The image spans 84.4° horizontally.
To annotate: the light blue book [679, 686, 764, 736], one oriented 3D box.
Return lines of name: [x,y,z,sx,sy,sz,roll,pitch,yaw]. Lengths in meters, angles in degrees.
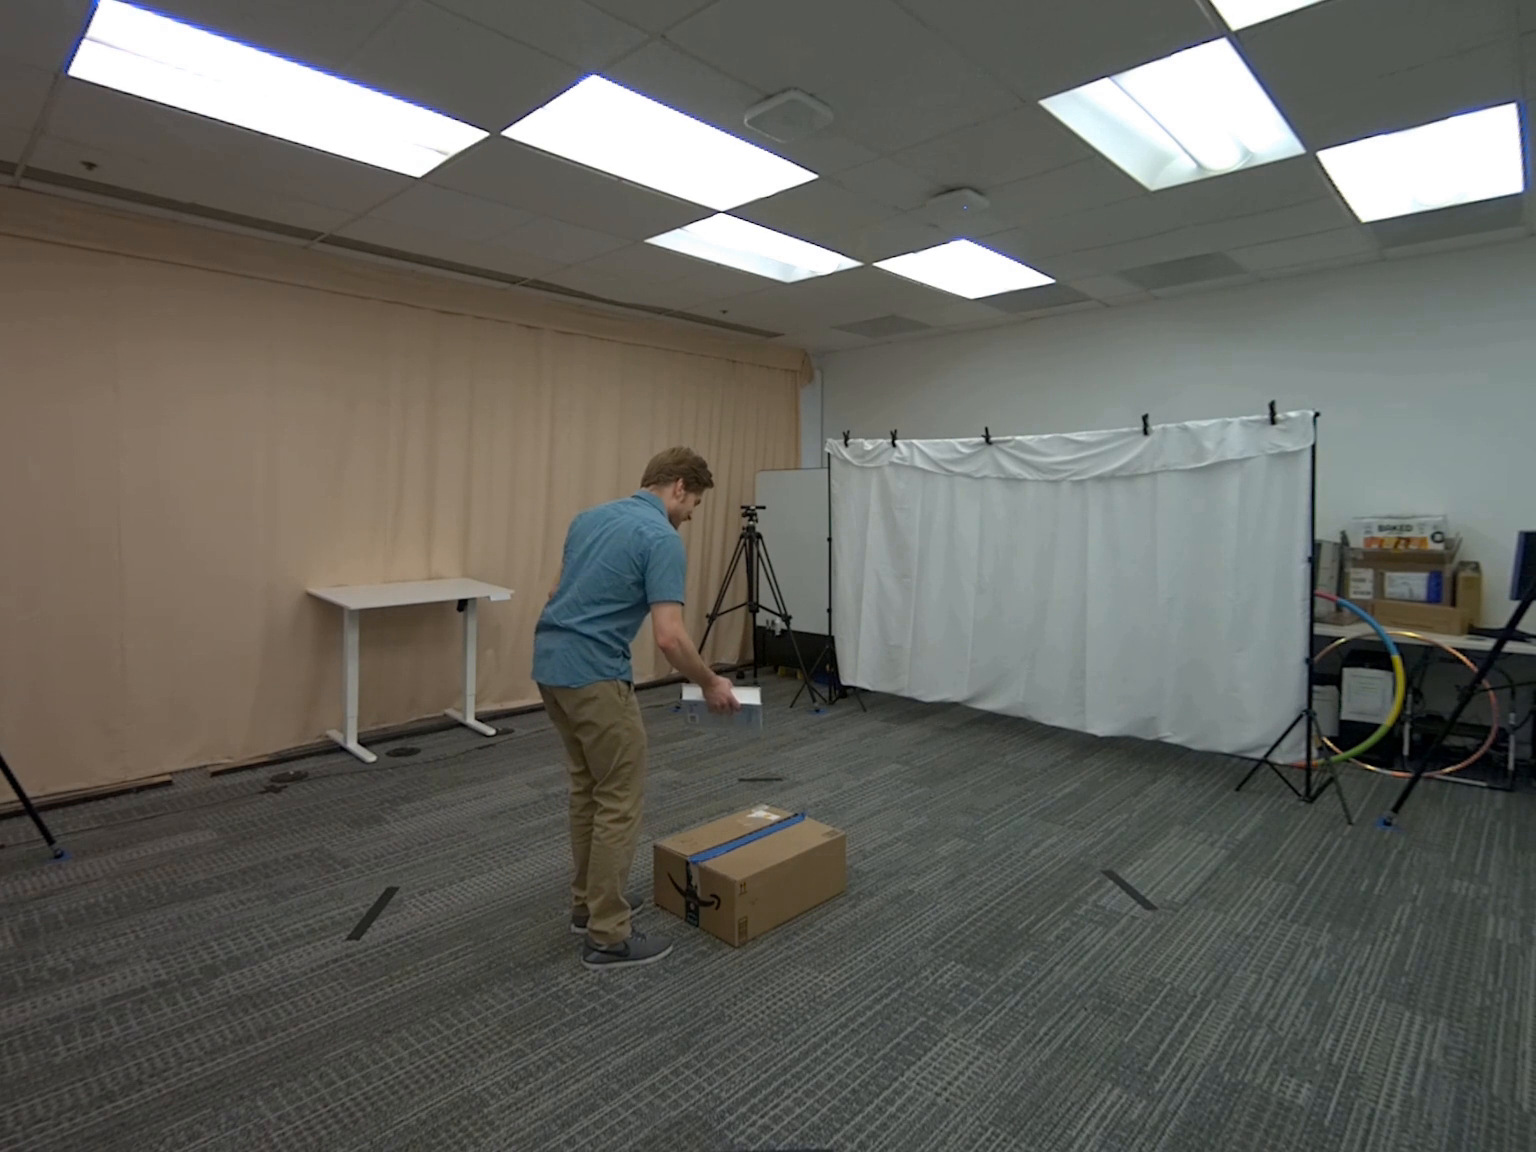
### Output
light blue book: [-0.152,0.446,2.800,0.263,0.060,0.187,3,-39,6]
